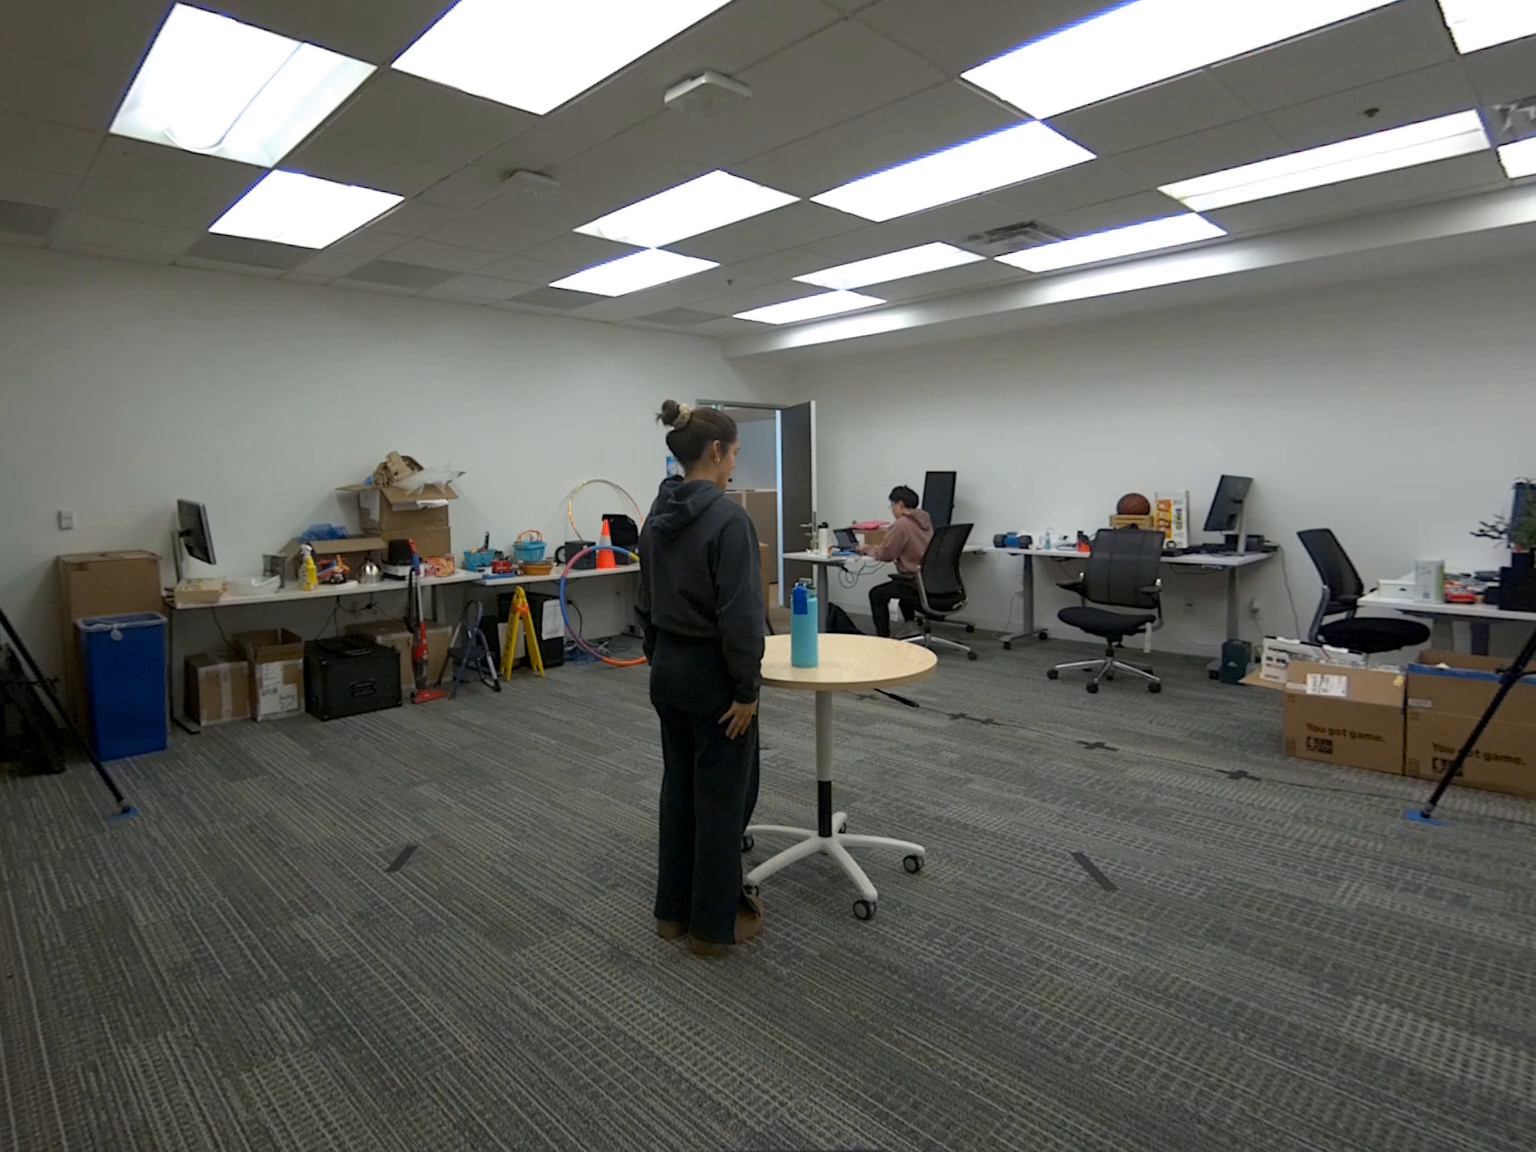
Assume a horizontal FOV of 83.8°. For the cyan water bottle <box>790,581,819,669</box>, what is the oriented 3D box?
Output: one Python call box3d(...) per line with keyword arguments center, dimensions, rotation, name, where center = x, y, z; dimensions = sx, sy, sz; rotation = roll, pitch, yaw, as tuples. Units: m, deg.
box3d(center=(0.123, 0.156, 2.792), dimensions=(0.092, 0.281, 0.093), rotation=(-1, 8, -2), name="cyan water bottle")
